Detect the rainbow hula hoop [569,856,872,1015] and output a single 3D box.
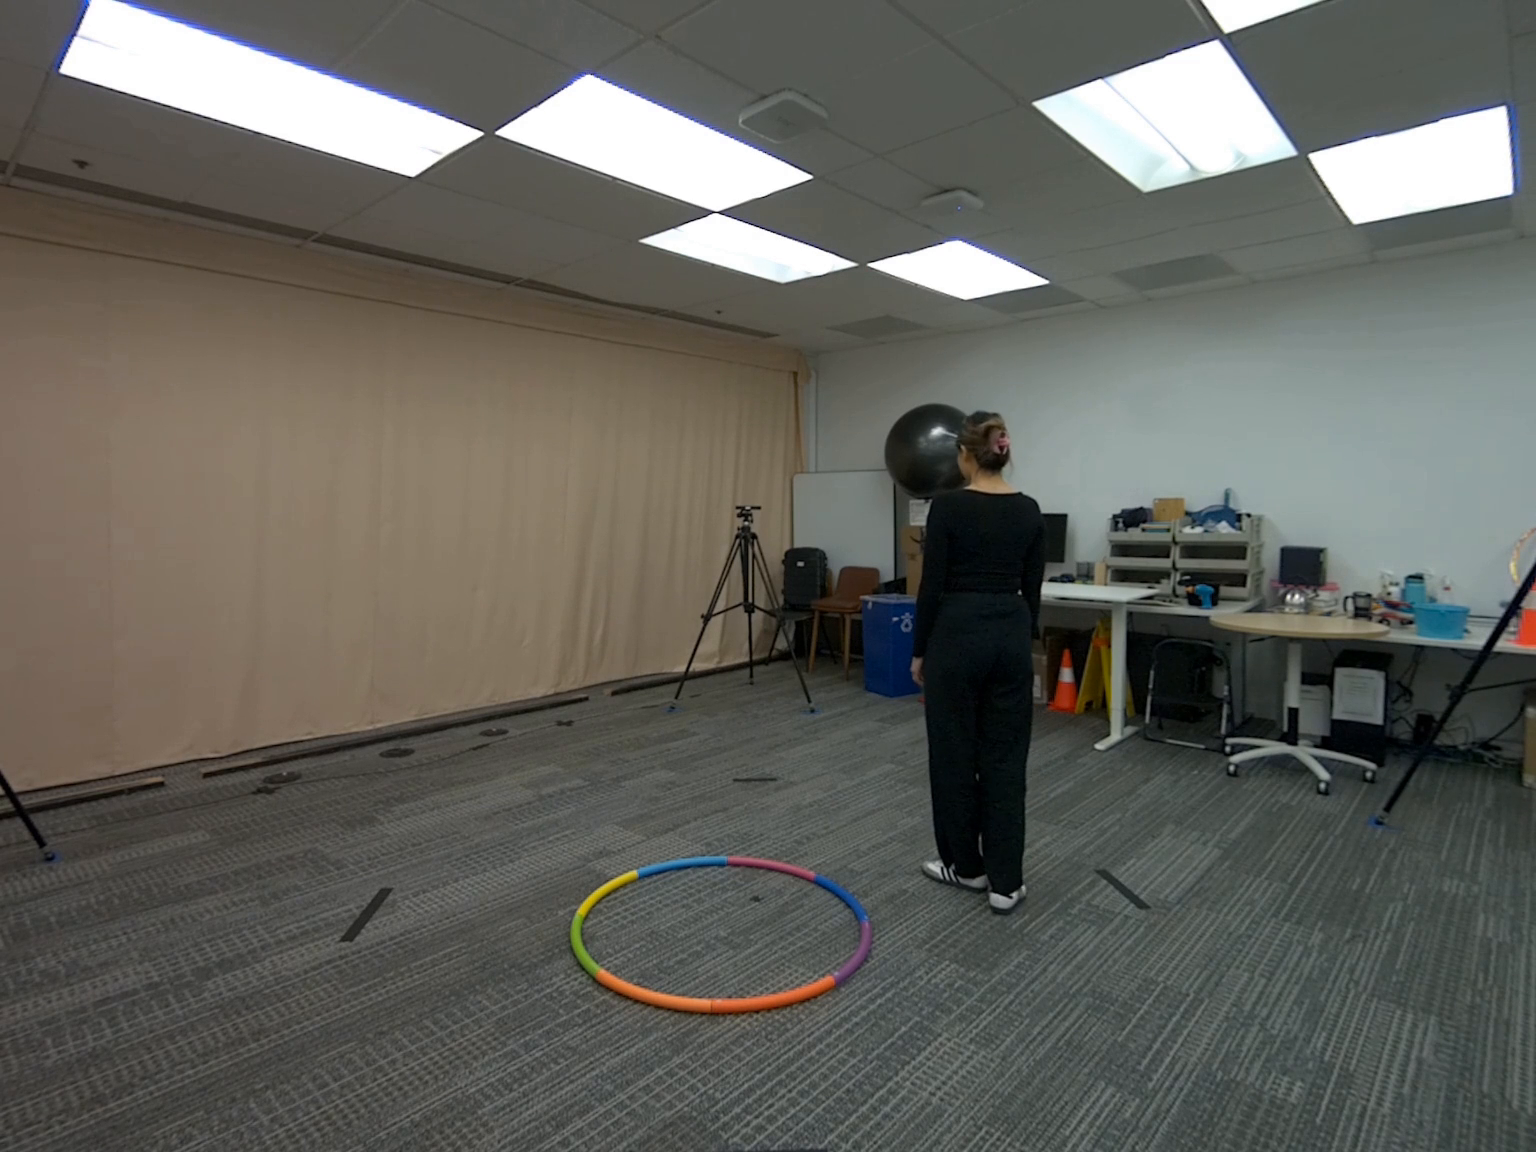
[{"bbox_3d":[-0.156,1.133,2.791,0.978,0.035,0.982,0,4,-2],"label":"rainbow hula hoop"}]
